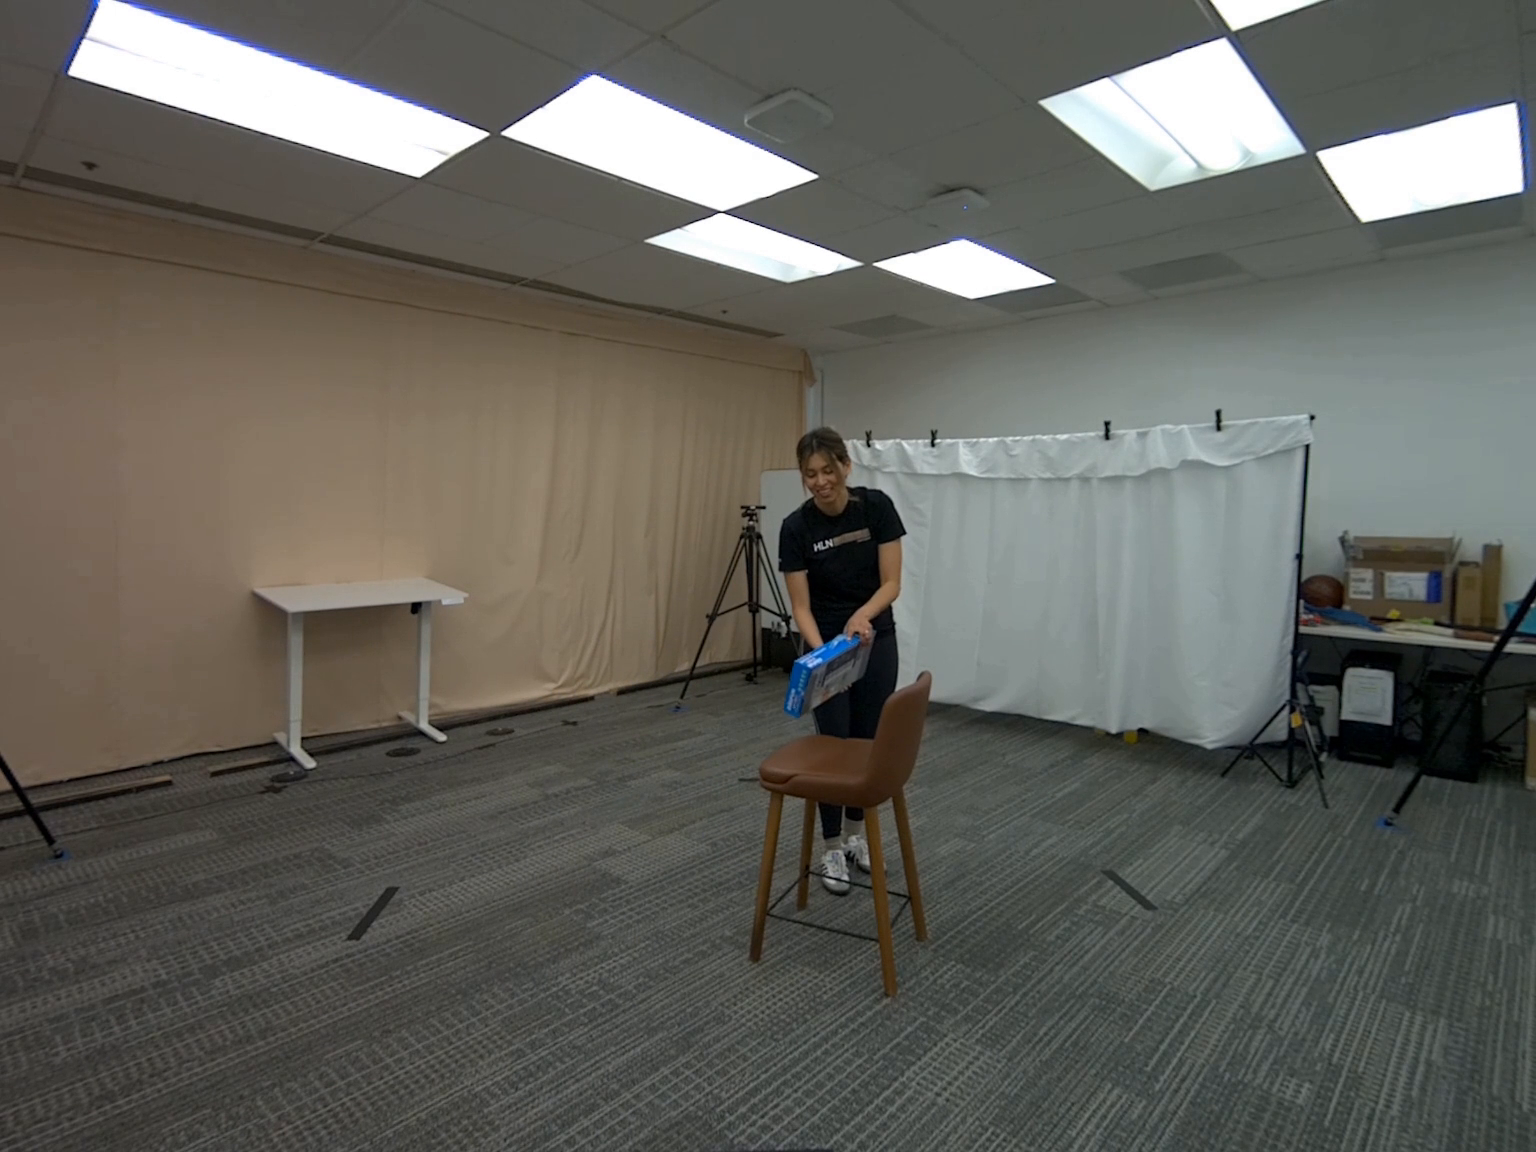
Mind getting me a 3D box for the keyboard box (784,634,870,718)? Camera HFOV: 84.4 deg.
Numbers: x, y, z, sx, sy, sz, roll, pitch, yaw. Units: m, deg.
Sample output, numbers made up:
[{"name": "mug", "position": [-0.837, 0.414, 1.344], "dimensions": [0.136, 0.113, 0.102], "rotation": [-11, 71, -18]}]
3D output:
[{"name": "keyboard box", "position": [0.203, 0.295, 2.668], "dimensions": [0.061, 0.174, 0.427], "rotation": [24, 24, 27]}]
